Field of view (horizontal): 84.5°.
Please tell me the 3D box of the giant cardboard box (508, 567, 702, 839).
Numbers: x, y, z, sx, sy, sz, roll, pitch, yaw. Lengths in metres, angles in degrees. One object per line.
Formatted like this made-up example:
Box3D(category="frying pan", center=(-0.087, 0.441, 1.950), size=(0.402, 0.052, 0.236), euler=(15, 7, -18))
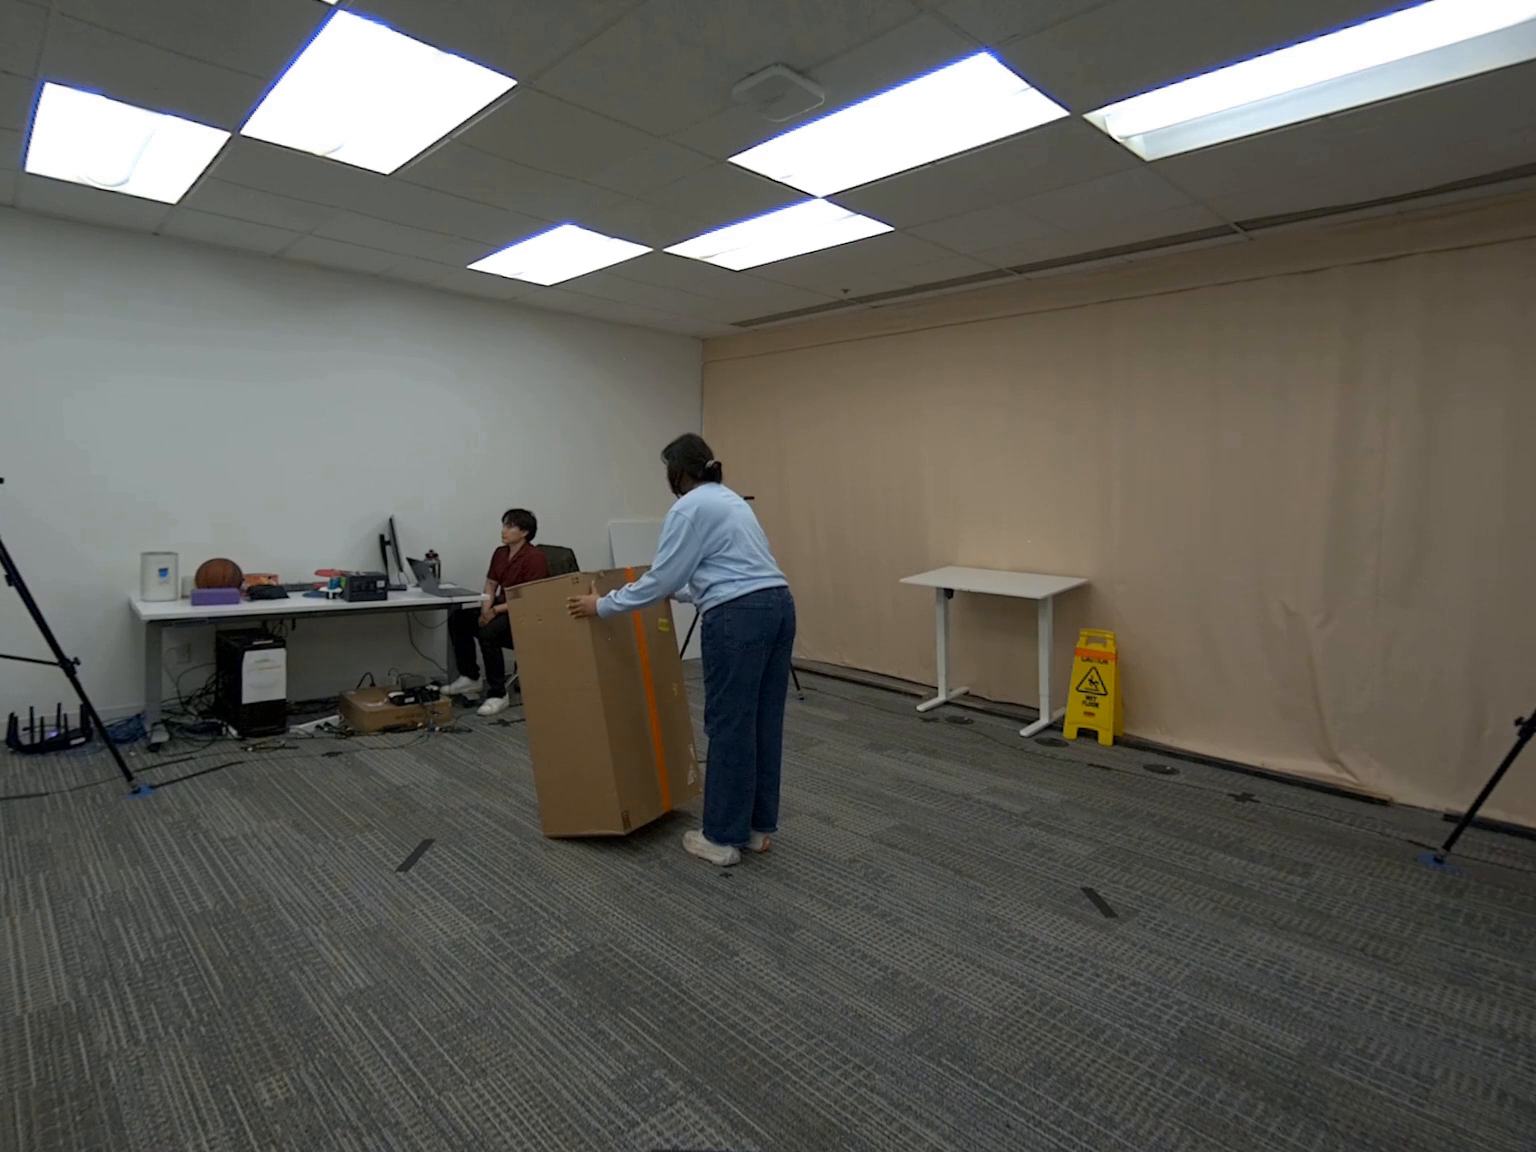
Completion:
Box3D(category="giant cardboard box", center=(-0.691, 0.501, 3.589), size=(0.454, 1.030, 0.572), euler=(-12, -4, 30))
